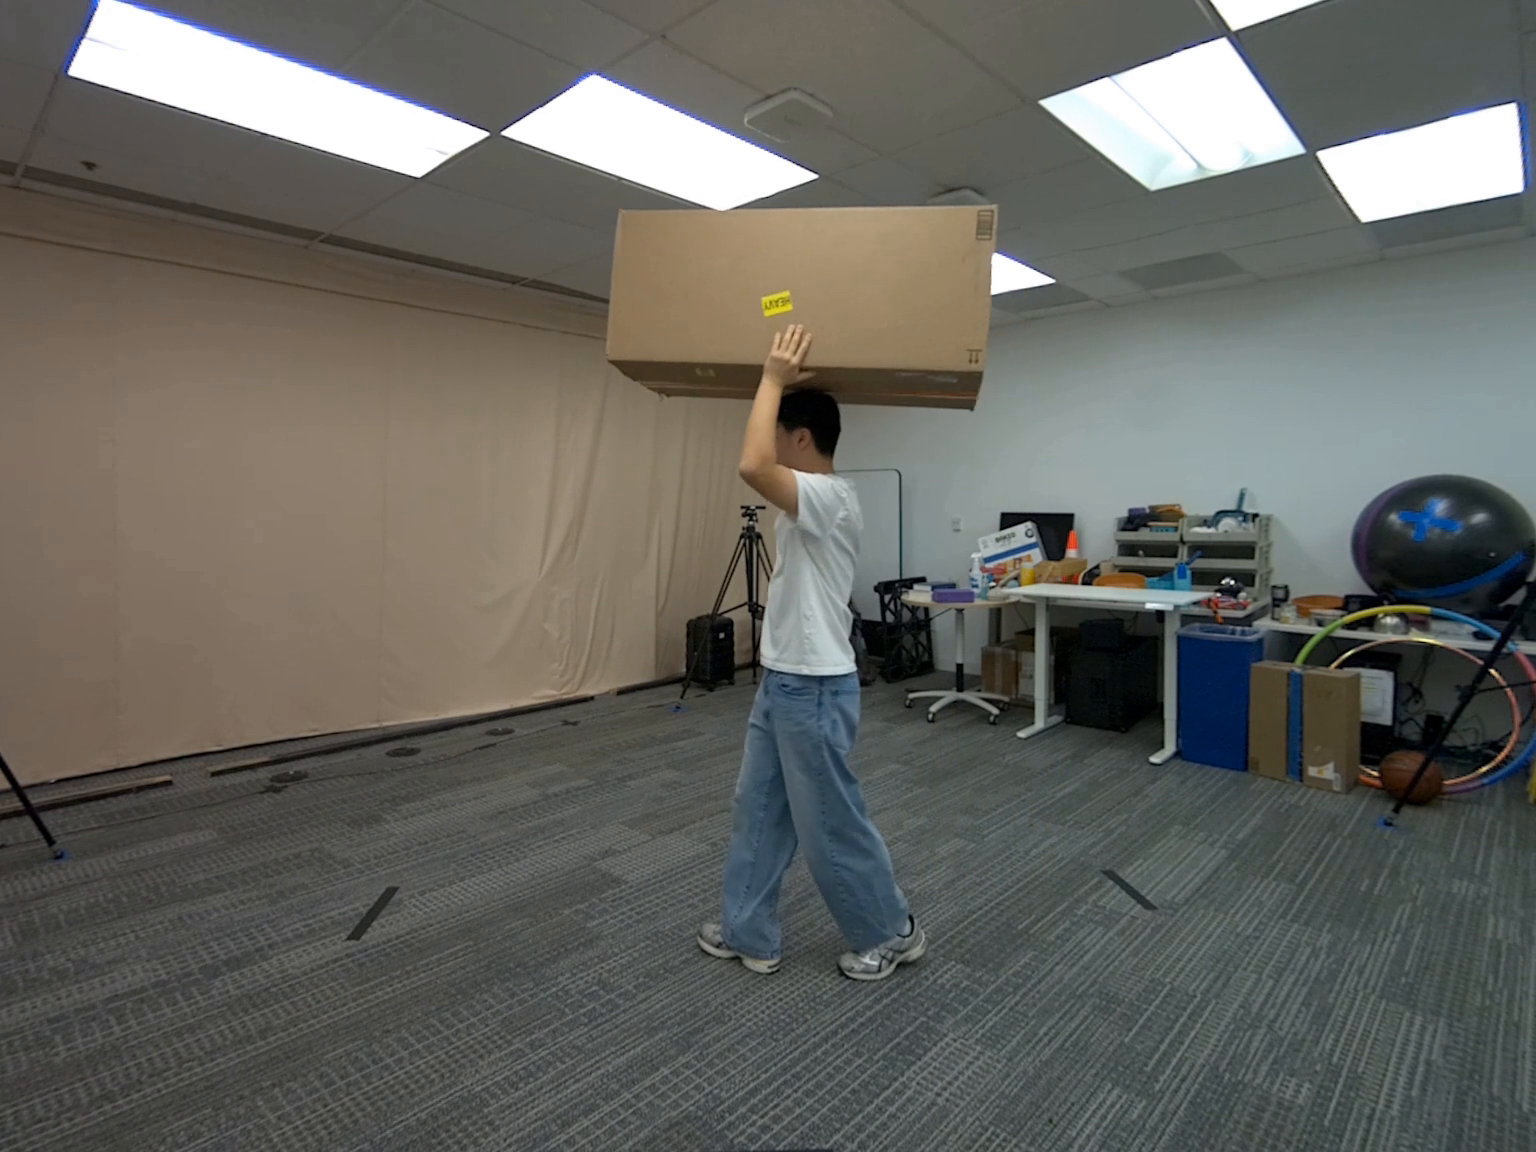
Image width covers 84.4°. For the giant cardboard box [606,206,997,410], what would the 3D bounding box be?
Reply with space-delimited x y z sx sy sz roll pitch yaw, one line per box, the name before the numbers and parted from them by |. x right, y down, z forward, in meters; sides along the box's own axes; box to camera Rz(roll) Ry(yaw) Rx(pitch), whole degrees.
giant cardboard box | 0.124 -0.776 2.509 1.042 0.426 0.569 6 1 13
